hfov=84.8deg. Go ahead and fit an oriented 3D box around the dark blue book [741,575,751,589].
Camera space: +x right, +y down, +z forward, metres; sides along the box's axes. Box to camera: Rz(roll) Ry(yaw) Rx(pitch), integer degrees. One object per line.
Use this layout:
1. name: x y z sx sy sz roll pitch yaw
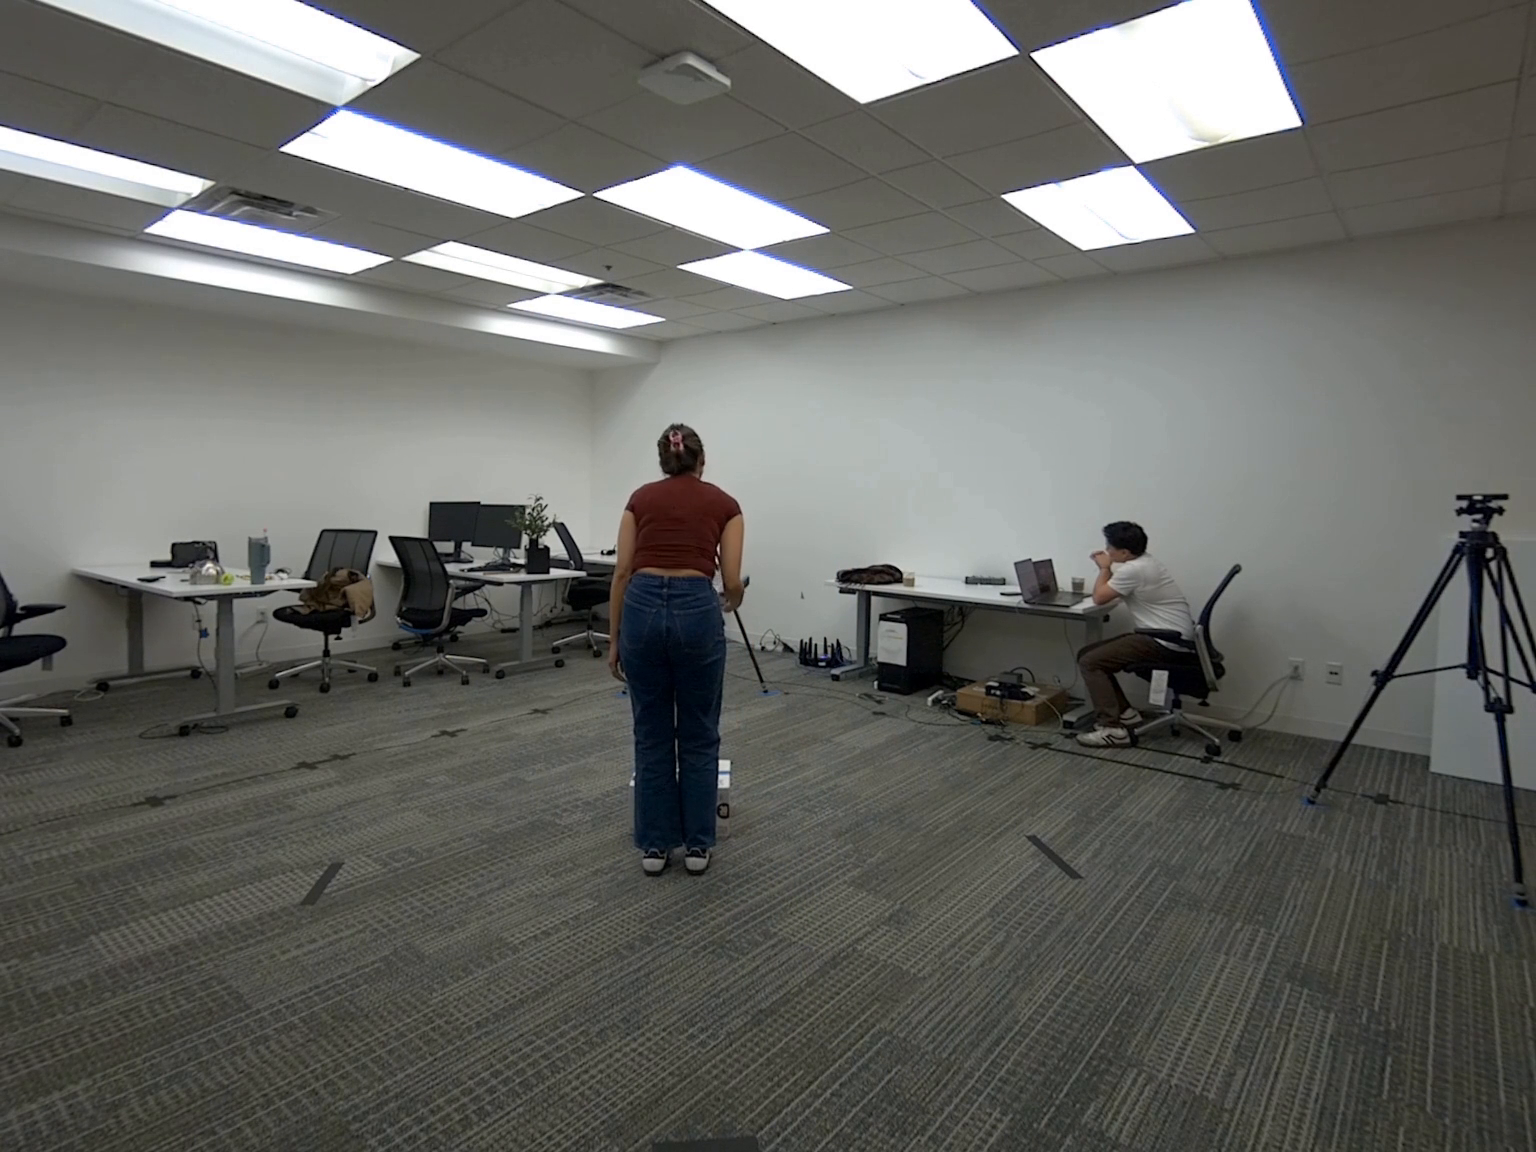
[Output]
1. dark blue book: -0.200 0.056 3.463 0.167 0.044 0.244 5 20 20
